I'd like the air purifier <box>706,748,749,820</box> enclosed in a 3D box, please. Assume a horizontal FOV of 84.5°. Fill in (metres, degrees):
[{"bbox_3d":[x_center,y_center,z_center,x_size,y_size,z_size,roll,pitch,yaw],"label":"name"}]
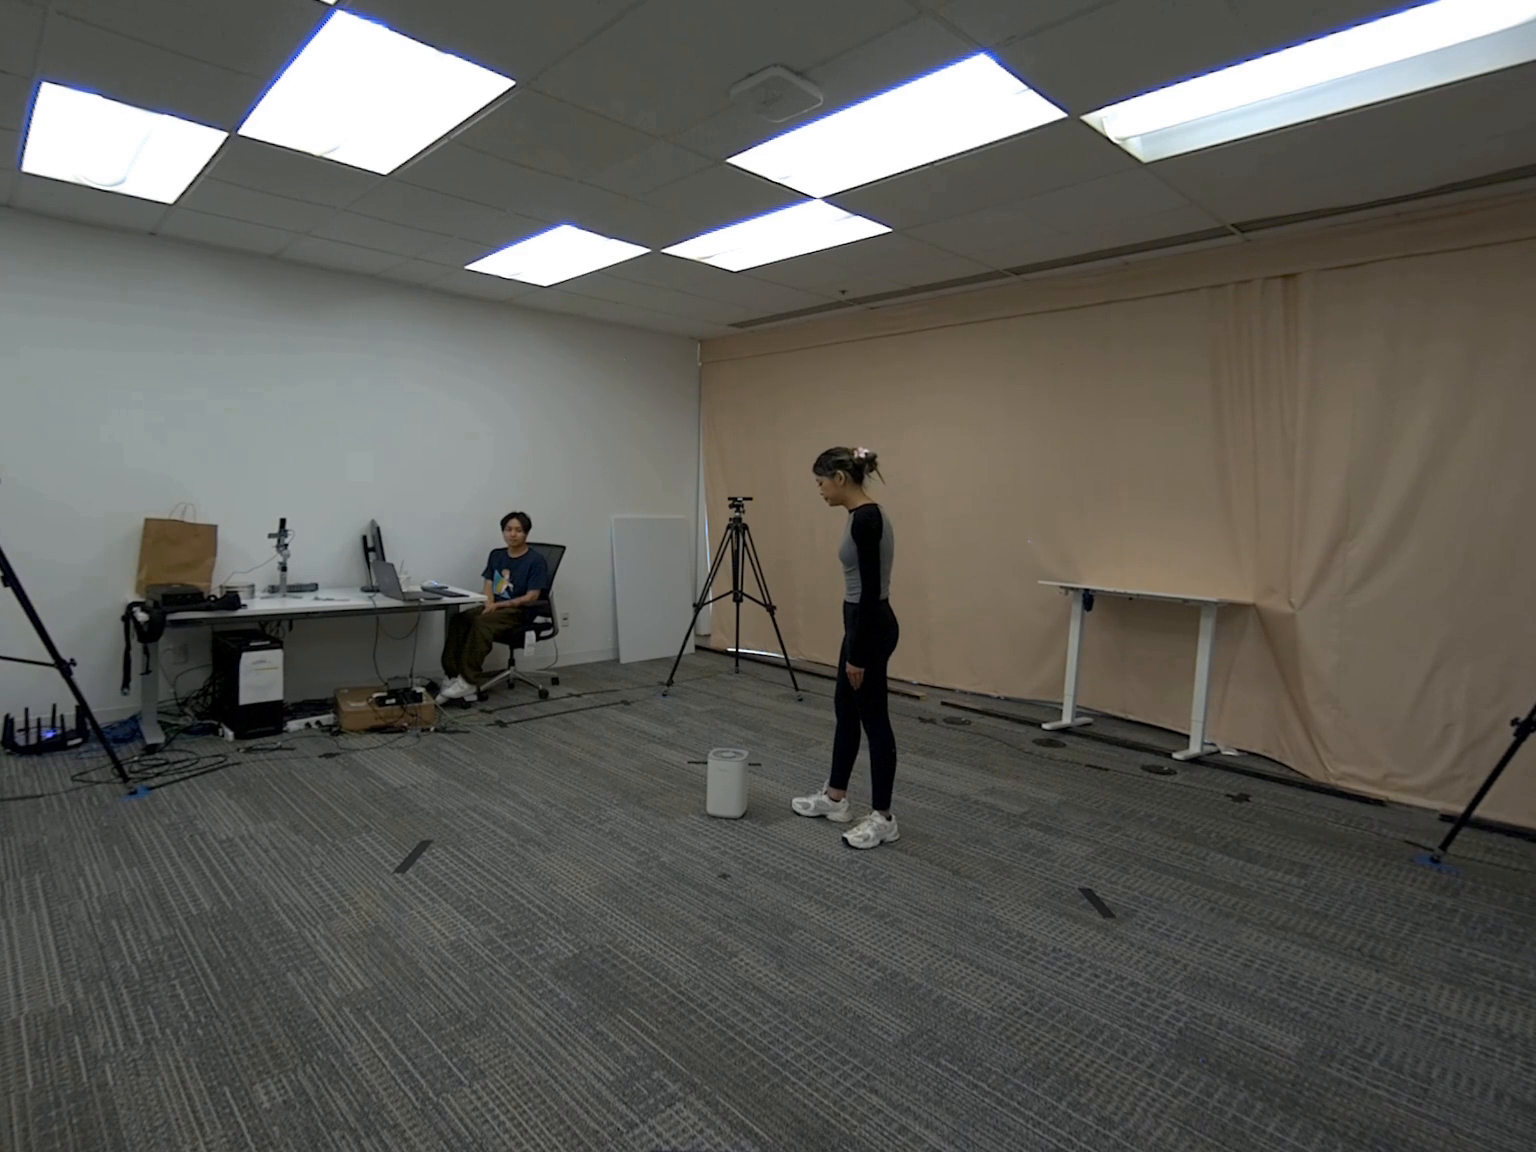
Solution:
[{"bbox_3d":[-0.188,0.914,3.729,0.172,0.264,0.170,2,5,10],"label":"air purifier"}]
